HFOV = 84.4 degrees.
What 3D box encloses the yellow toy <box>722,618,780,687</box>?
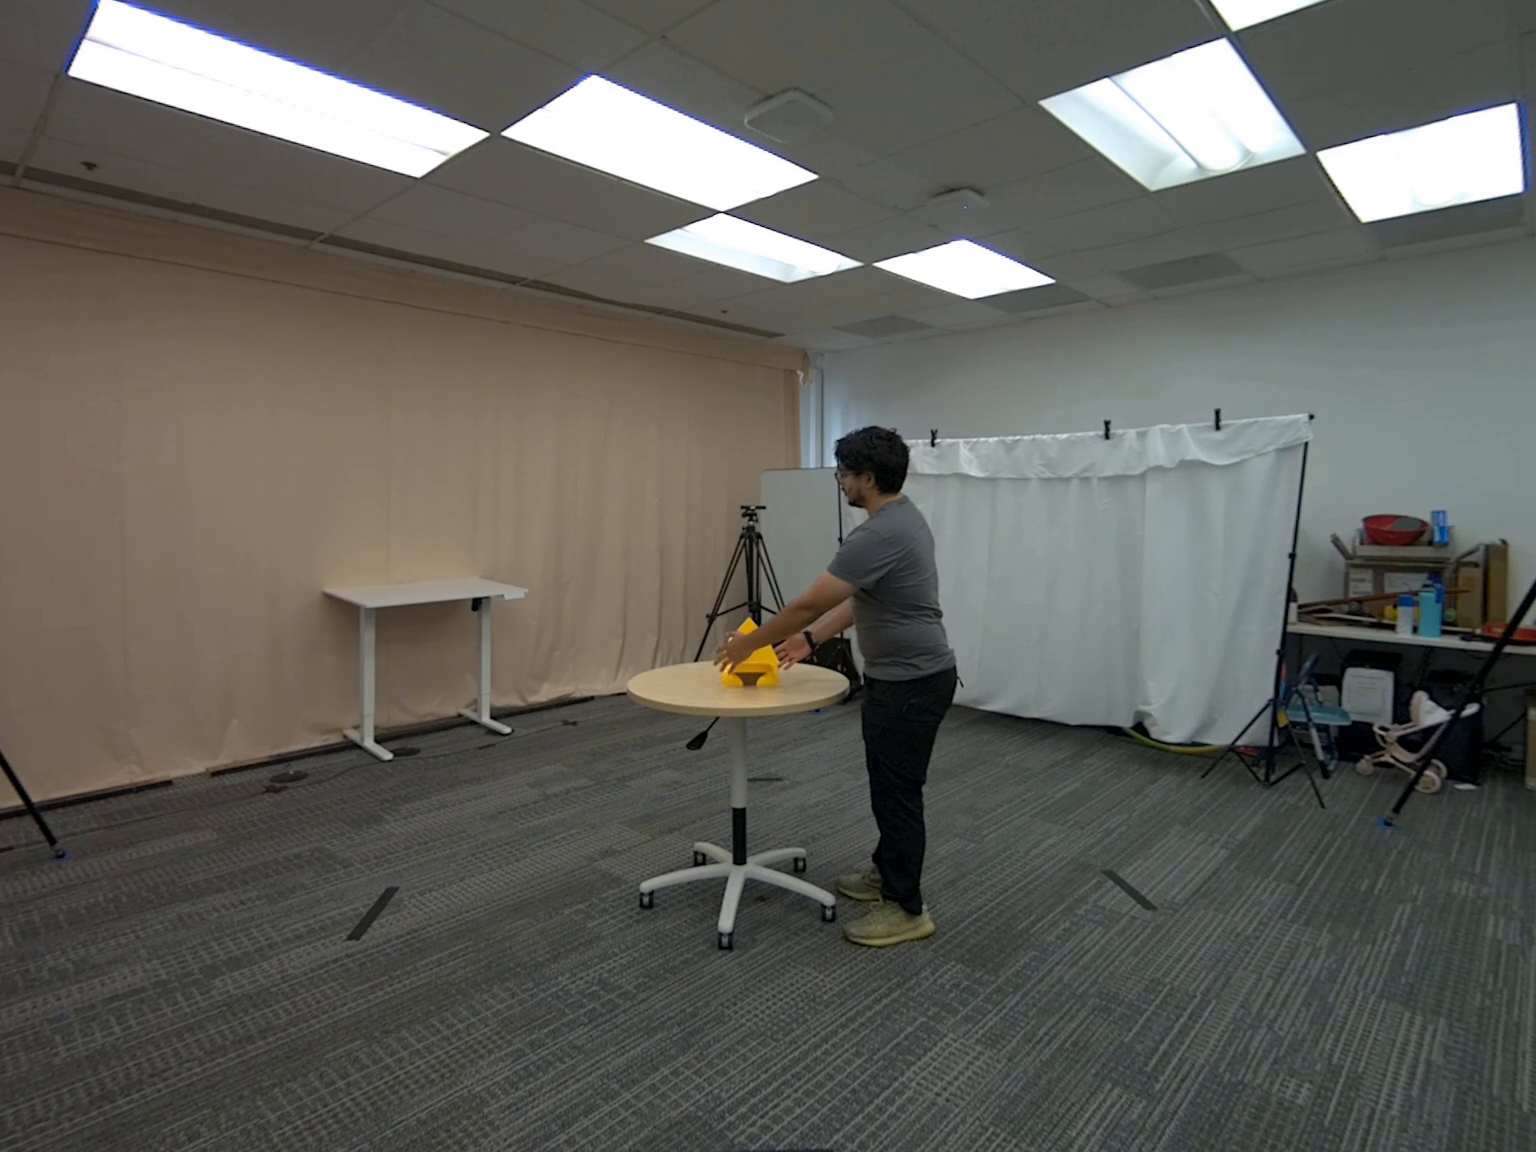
[{"bbox_3d":[-0.071,0.253,2.902,0.206,0.230,0.193,-1,4,3],"label":"yellow toy"}]
